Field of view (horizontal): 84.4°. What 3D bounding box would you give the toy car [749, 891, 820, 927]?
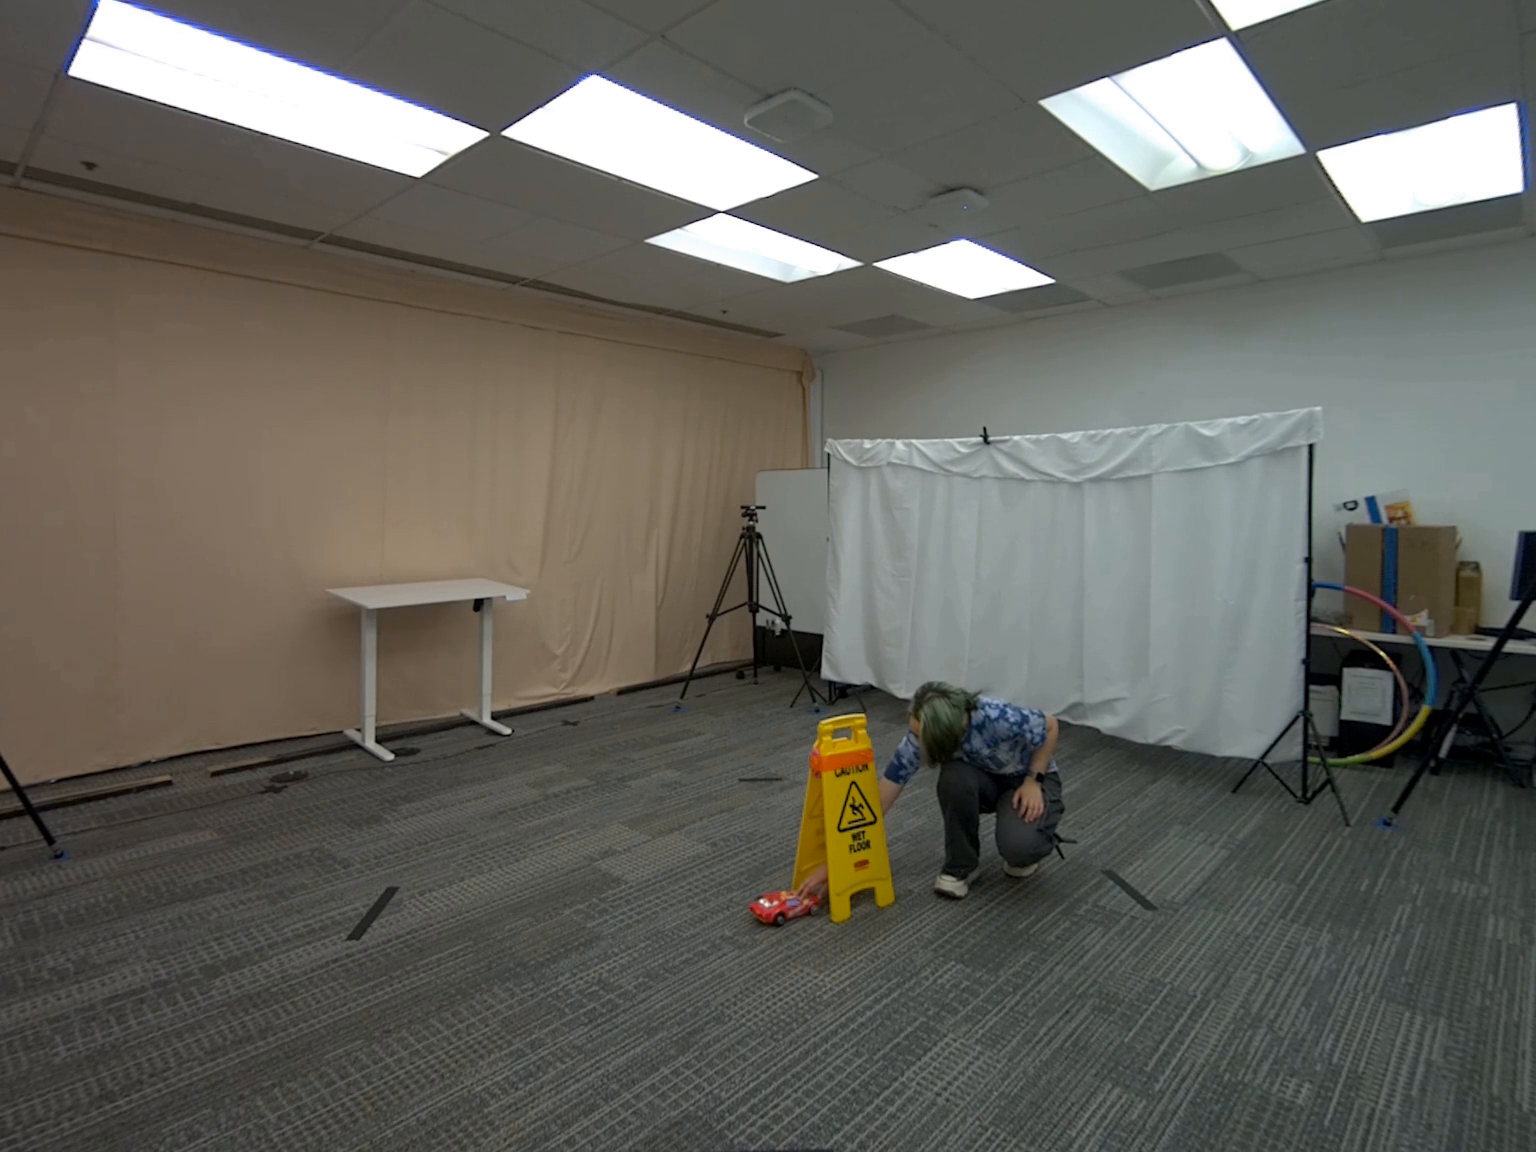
[{"bbox_3d":[0.053,1.132,2.852,0.247,0.083,0.134,14,-4,-28],"label":"toy car"}]
